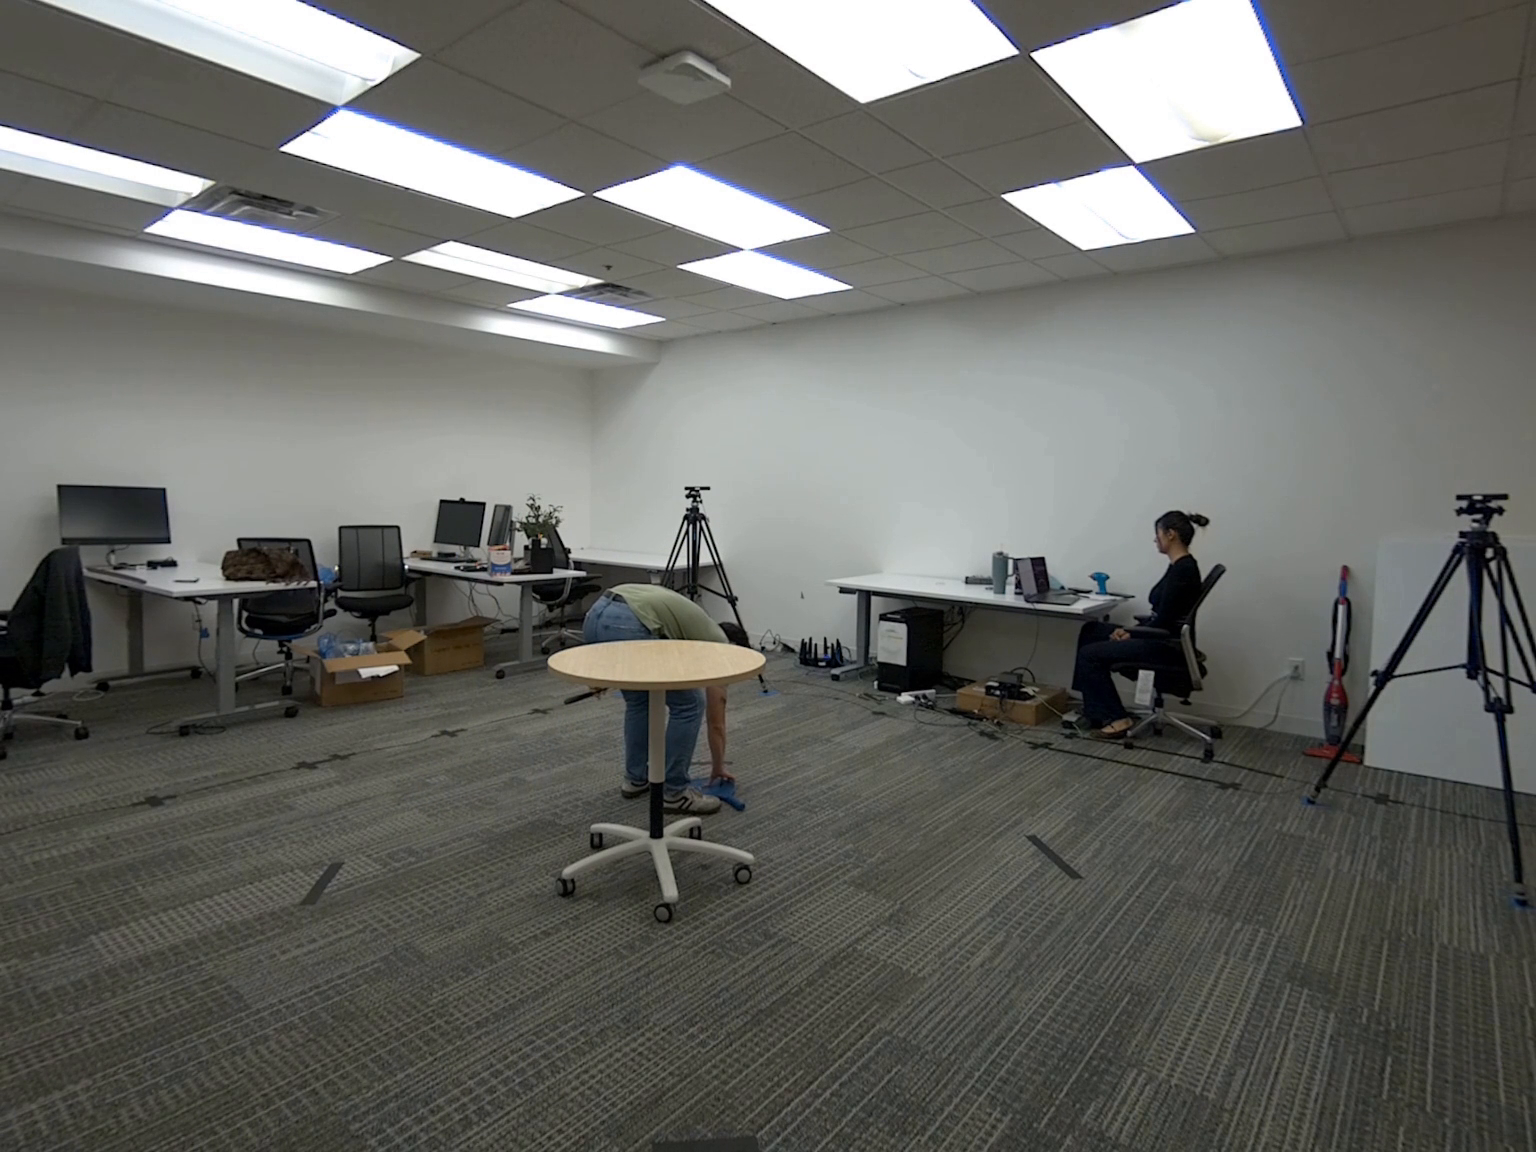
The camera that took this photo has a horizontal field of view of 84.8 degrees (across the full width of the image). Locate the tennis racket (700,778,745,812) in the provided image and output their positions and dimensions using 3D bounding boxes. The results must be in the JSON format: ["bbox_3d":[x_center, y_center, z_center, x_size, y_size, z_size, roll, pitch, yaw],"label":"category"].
[{"bbox_3d":[-0.238,0.976,3.858,0.208,0.031,0.445,-5,5,-29],"label":"tennis racket"}]
